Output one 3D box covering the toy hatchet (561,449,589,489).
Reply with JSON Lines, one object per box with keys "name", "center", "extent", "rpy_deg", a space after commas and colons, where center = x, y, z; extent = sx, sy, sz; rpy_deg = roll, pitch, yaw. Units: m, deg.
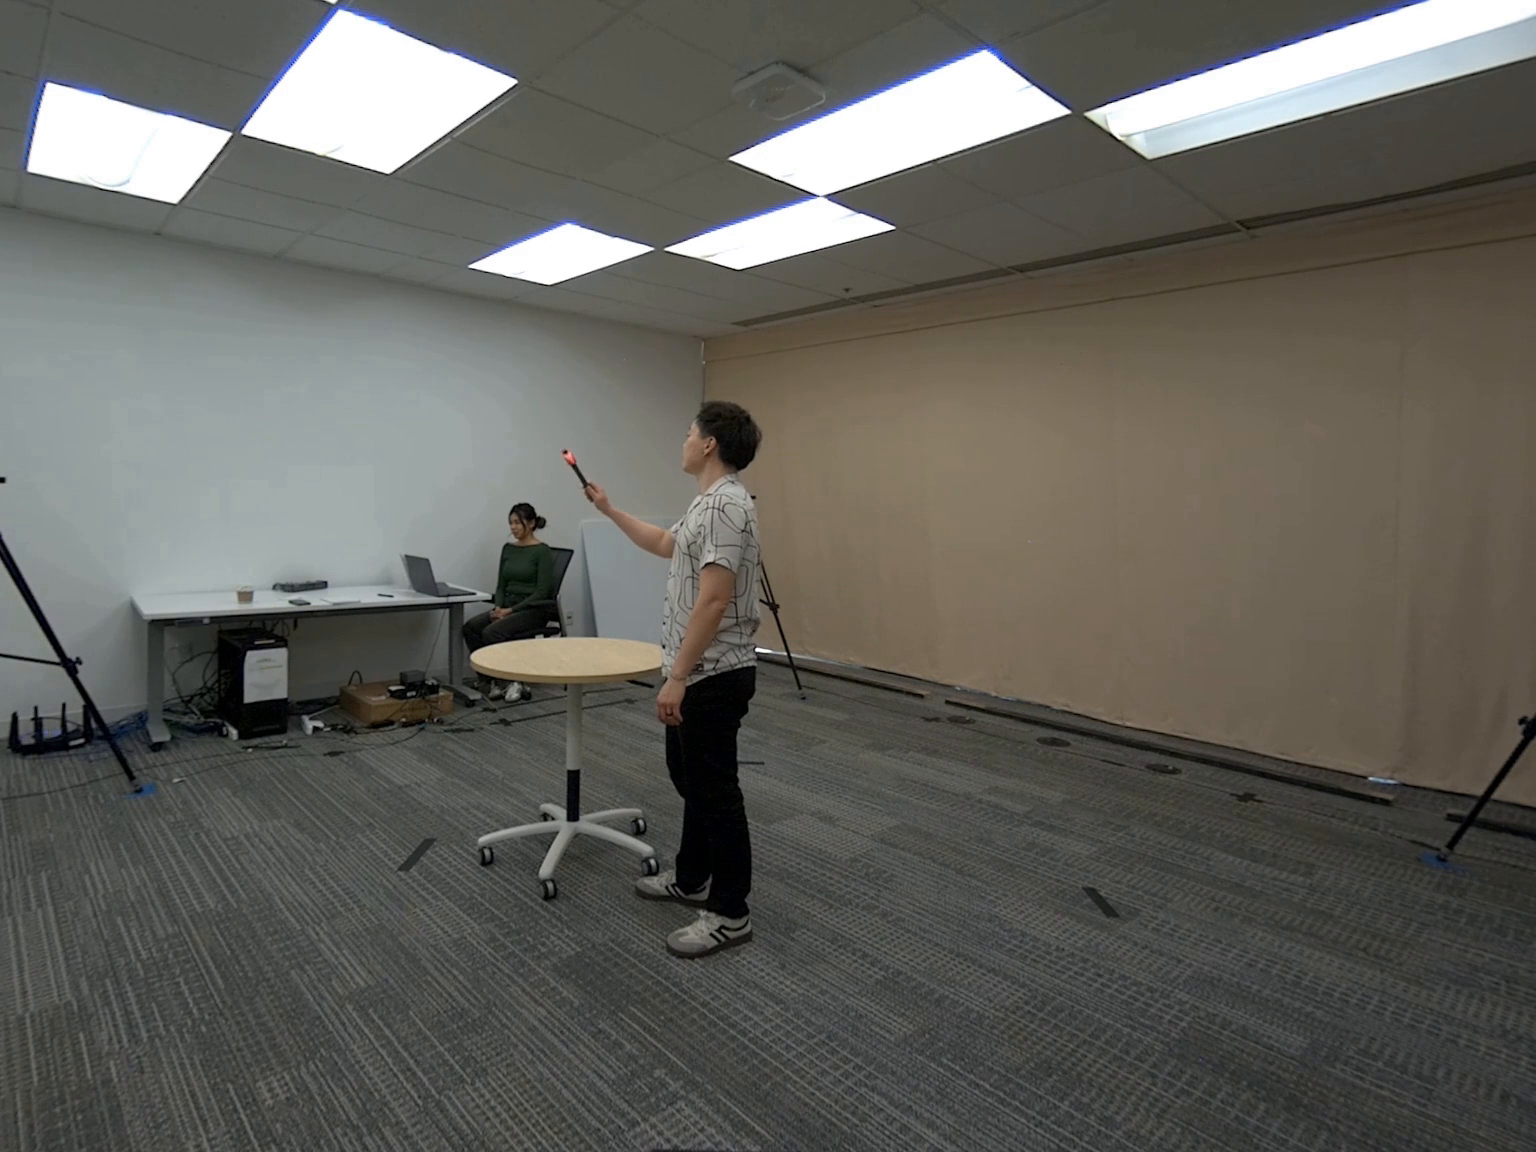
{"name": "toy hatchet", "center": [-0.669, -0.348, 2.951], "extent": [0.029, 0.262, 0.135], "rpy_deg": [-32, 54, -9]}
